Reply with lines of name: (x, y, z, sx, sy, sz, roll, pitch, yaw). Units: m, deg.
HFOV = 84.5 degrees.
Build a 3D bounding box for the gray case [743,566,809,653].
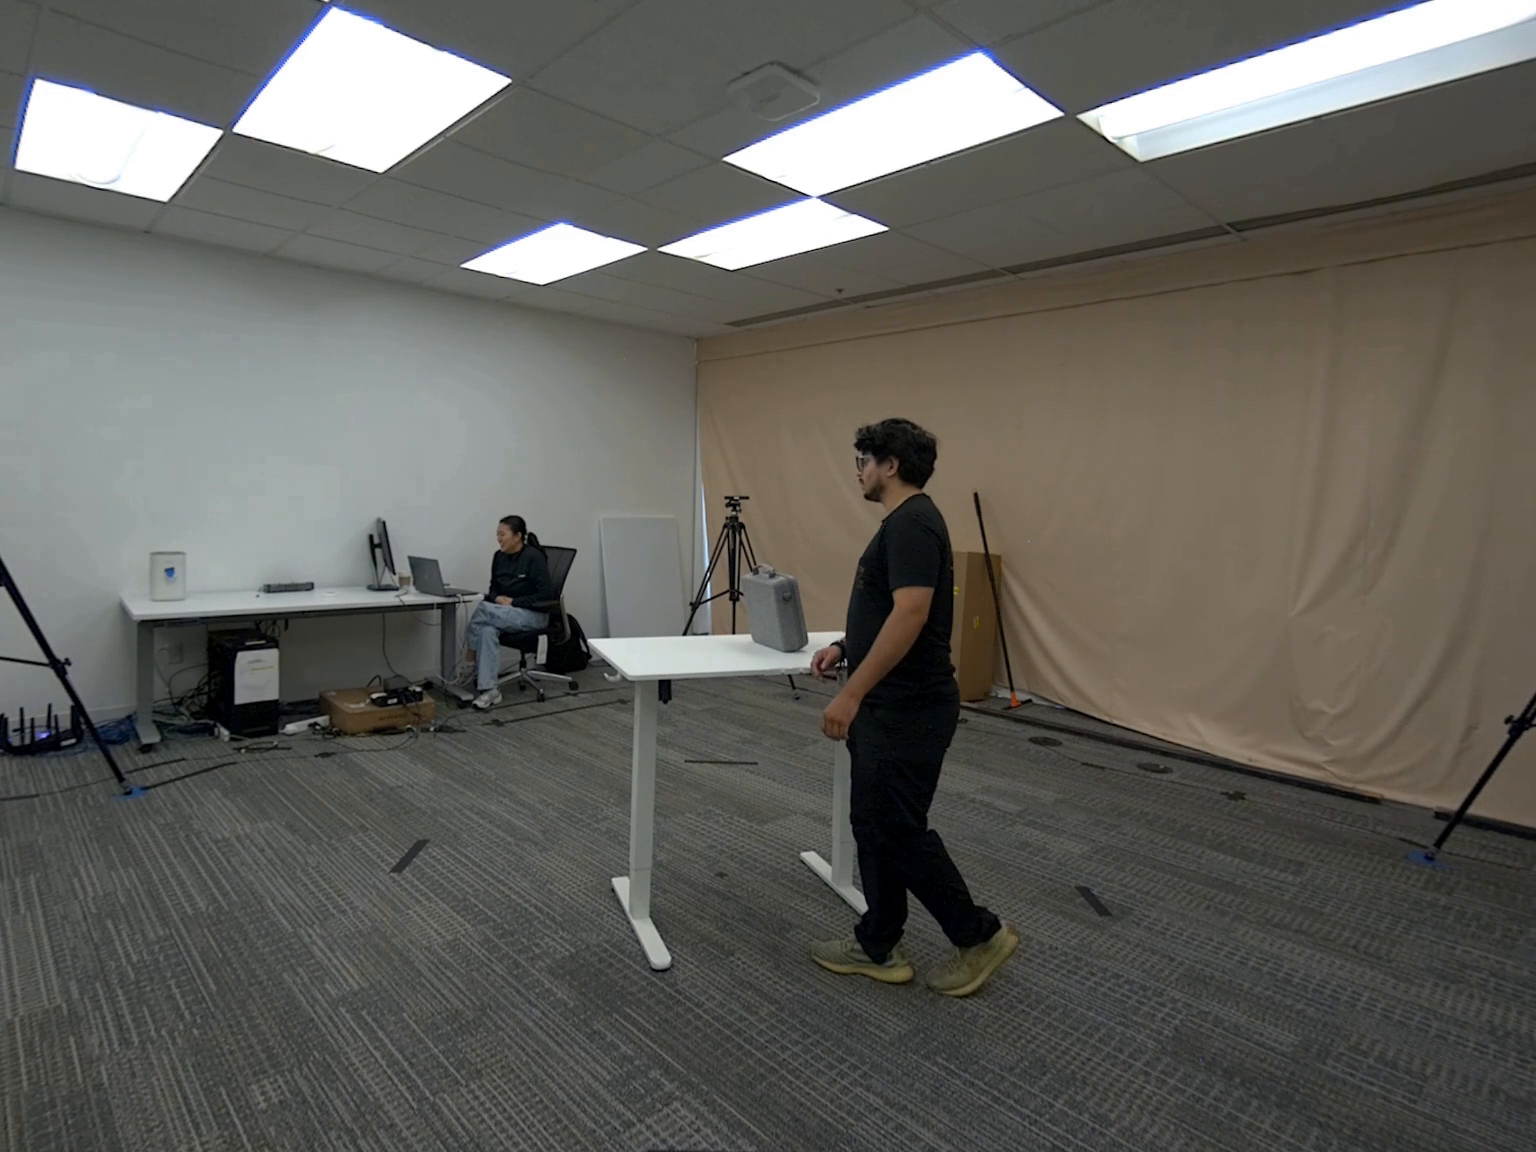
gray case: (0.013, 0.113, 2.883, 0.103, 0.258, 0.262, -13, 11, -25)
